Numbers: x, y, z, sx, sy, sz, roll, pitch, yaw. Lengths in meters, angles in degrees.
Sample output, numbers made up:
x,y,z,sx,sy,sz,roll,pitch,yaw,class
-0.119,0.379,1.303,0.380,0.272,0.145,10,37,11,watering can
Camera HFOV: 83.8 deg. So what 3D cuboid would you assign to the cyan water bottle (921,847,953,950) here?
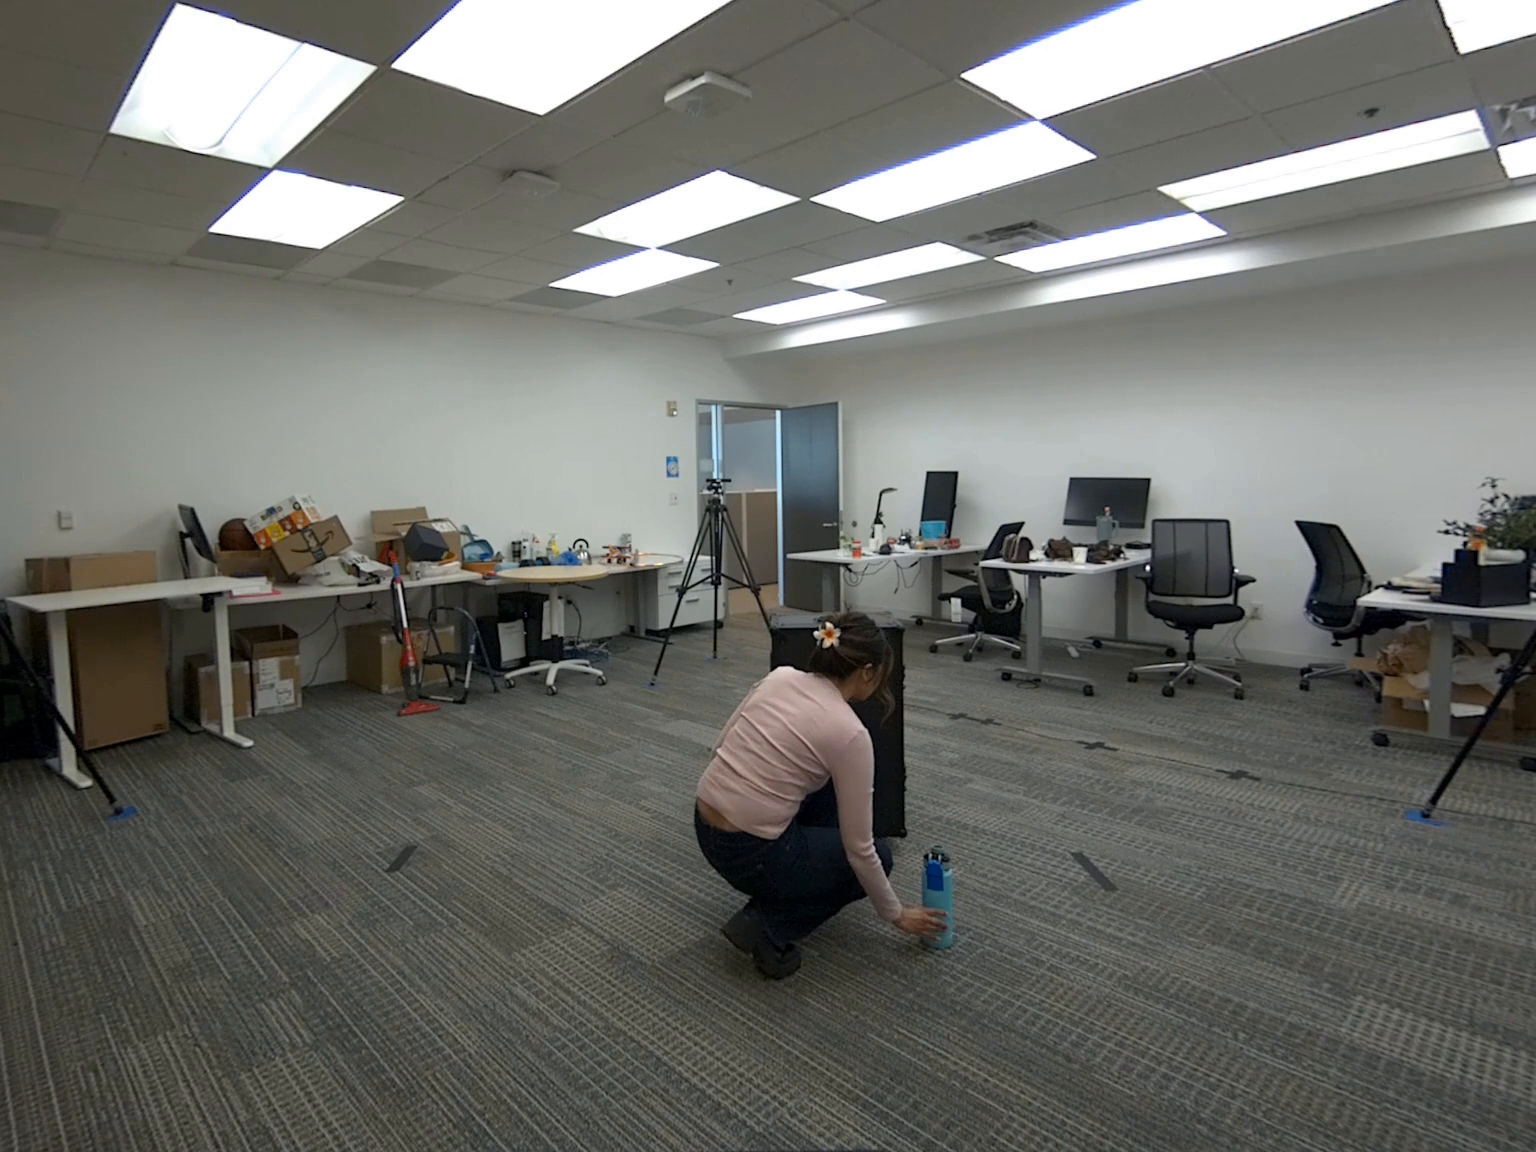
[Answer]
x,y,z,sx,sy,sz,roll,pitch,yaw,class
0.500,0.955,2.560,0.092,0.282,0.093,-2,6,-1,cyan water bottle
